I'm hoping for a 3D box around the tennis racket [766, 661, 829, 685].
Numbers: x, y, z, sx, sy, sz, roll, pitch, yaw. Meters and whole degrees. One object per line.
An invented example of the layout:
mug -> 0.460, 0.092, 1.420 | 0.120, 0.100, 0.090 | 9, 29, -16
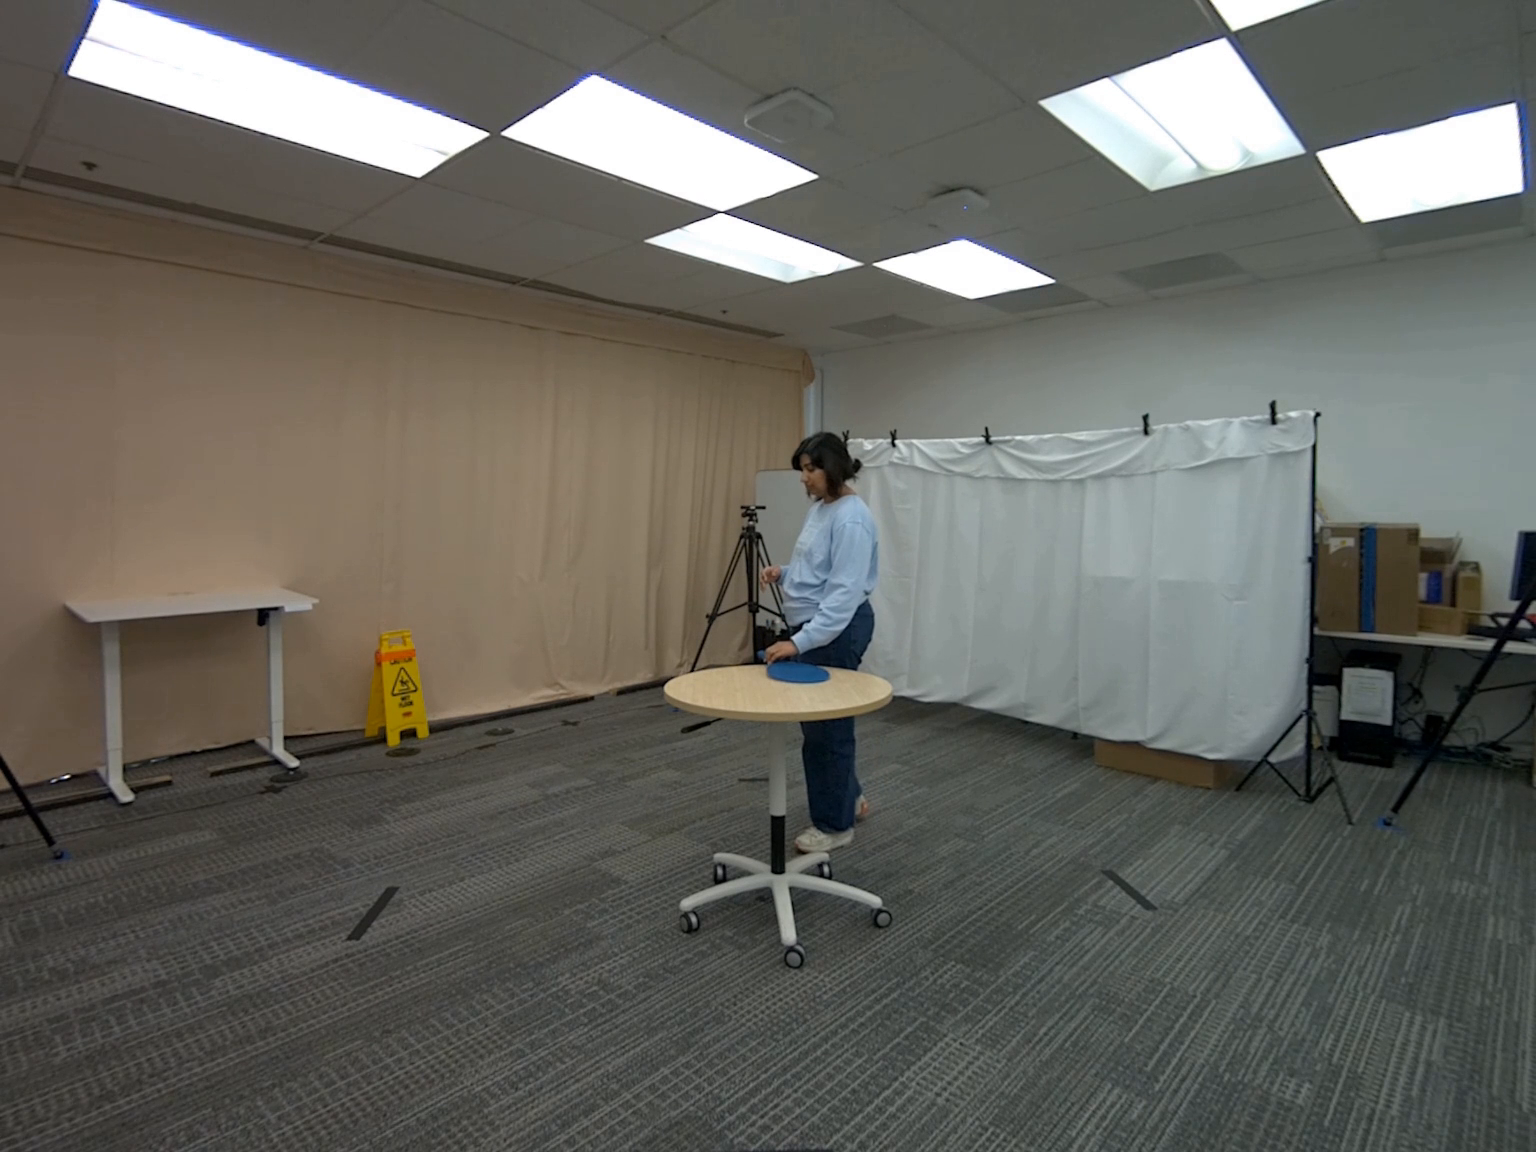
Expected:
tennis racket -> 0.072, 0.335, 3.078 | 0.208, 0.031, 0.446 | -5, 10, -28
